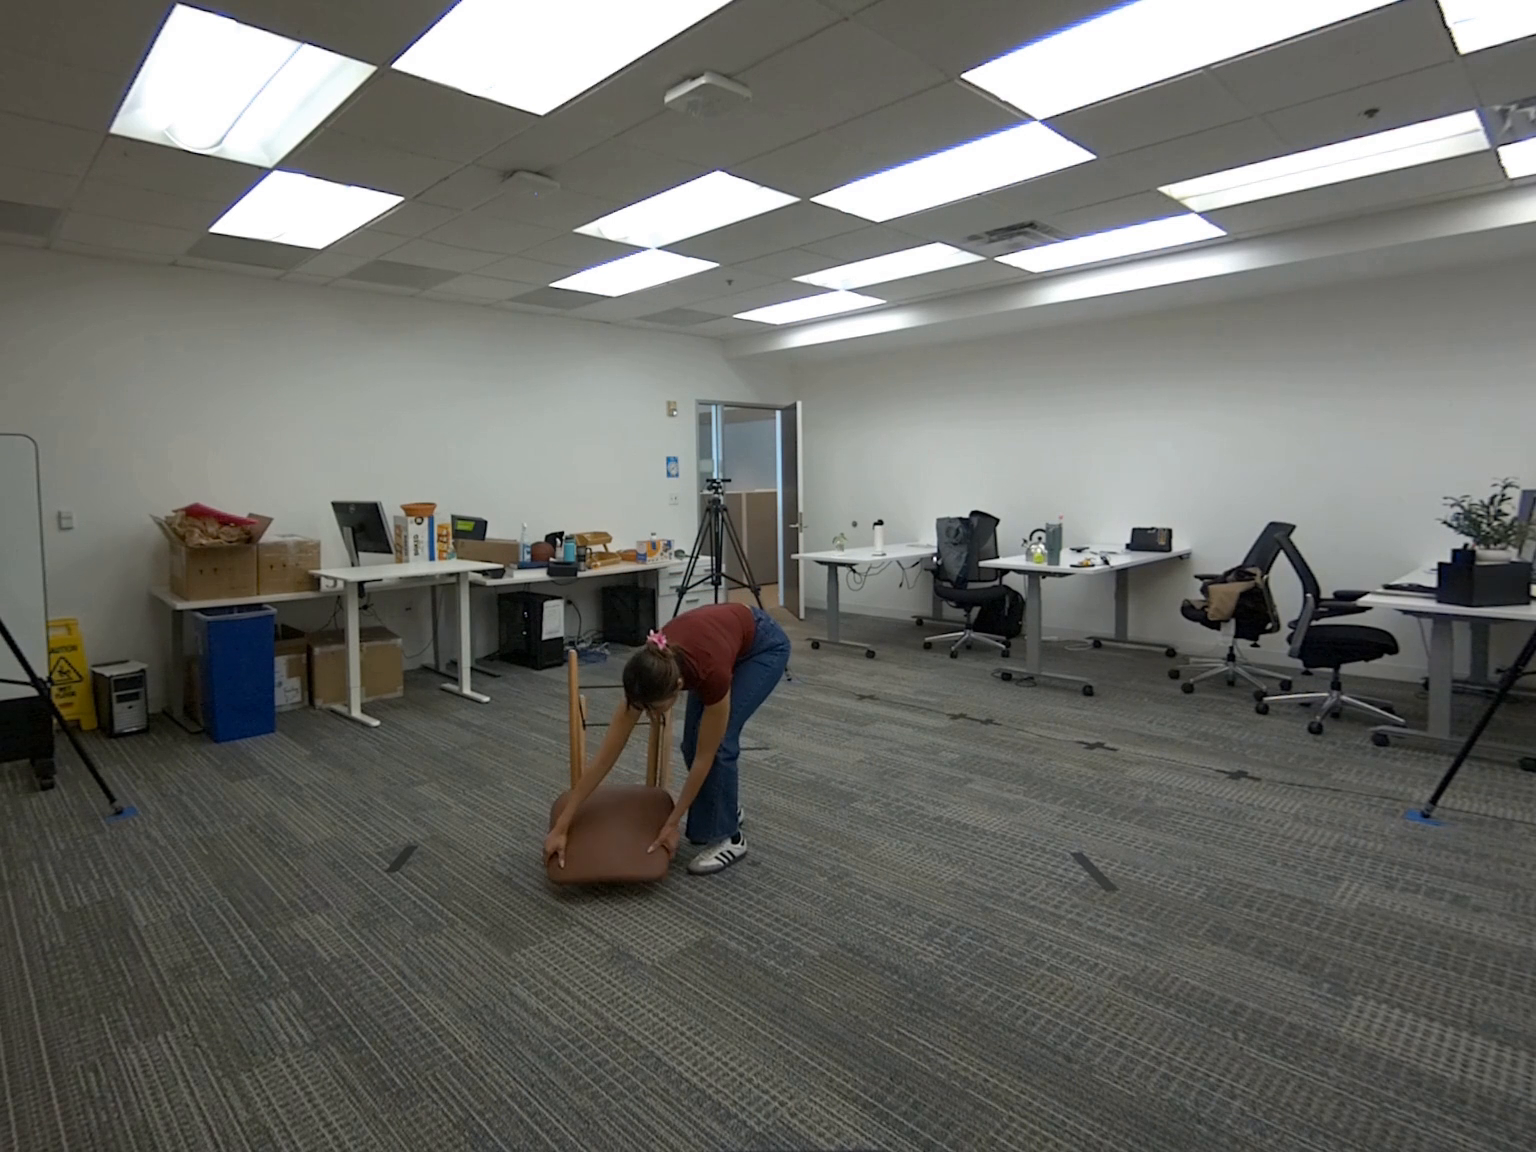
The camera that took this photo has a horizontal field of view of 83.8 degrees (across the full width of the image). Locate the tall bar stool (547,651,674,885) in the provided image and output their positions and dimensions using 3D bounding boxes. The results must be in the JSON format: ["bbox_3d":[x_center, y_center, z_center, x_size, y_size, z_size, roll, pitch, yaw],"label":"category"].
[{"bbox_3d":[-0.575,0.765,3.271,0.455,0.915,0.456,-2,-36,-4],"label":"tall bar stool"}]
